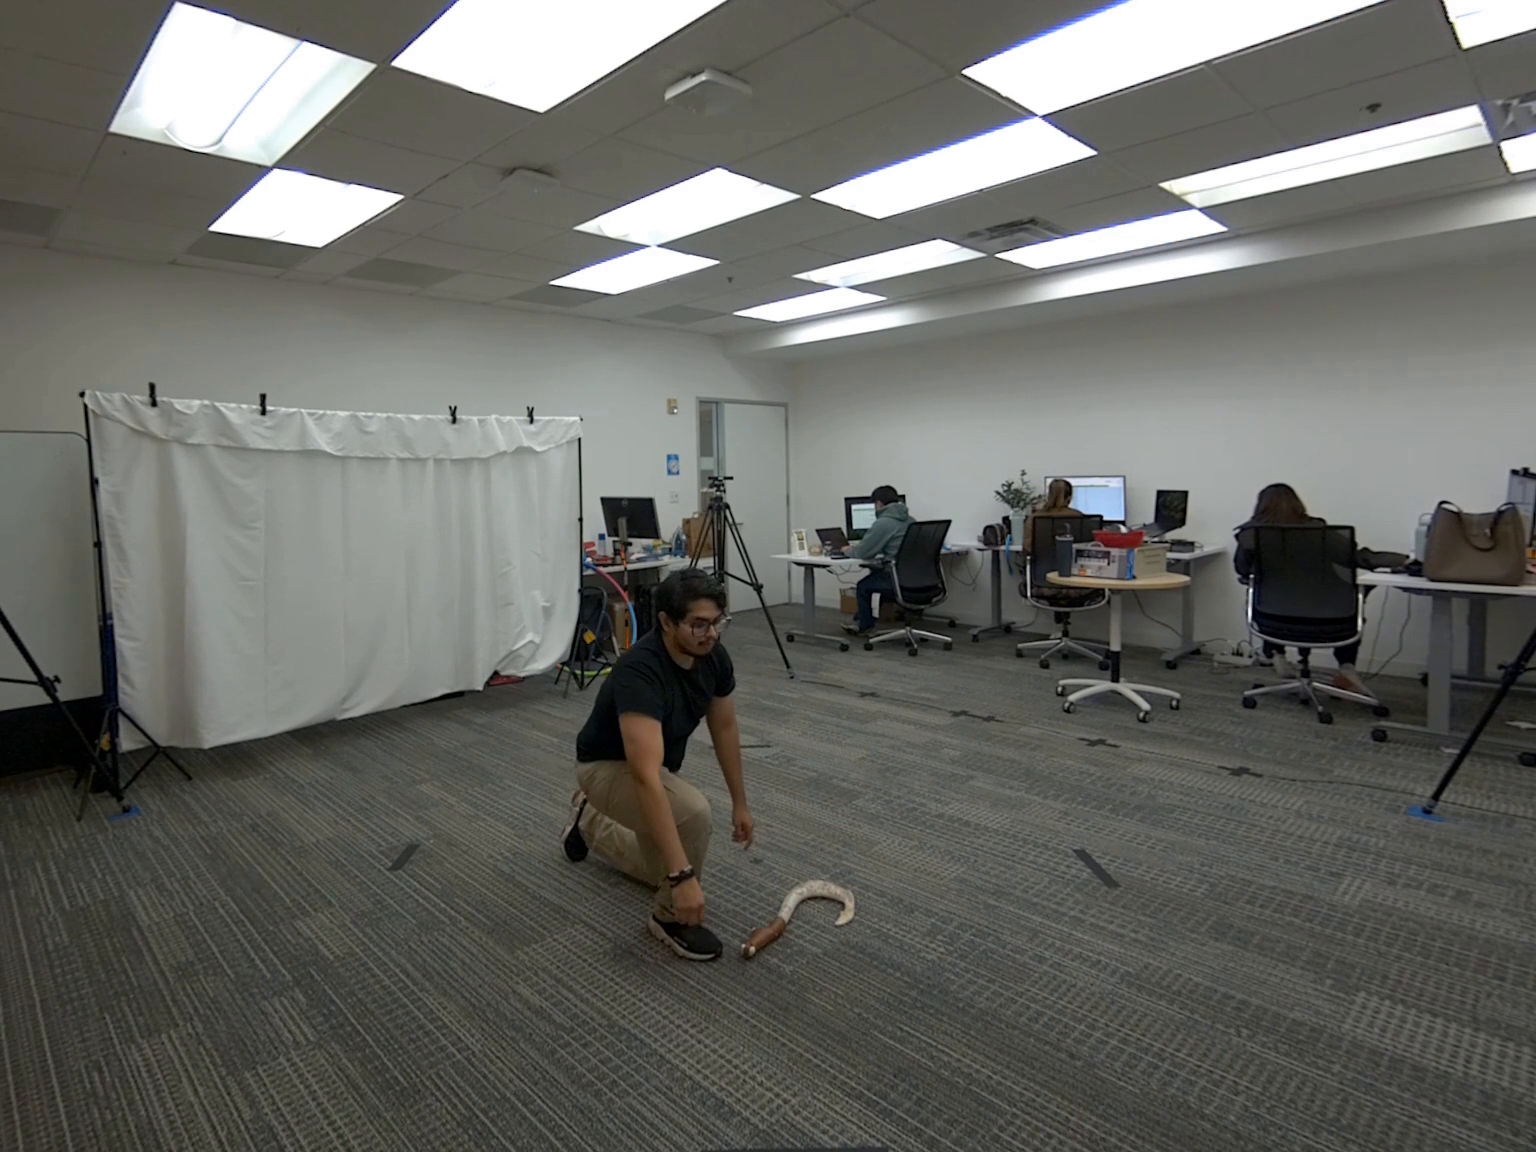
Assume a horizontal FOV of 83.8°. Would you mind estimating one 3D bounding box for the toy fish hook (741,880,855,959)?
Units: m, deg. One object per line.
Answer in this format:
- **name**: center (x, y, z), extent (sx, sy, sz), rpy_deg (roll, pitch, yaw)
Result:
- **toy fish hook**: center (0.106, 1.065, 2.642), extent (0.231, 0.048, 0.495), rpy_deg (2, 8, 33)
